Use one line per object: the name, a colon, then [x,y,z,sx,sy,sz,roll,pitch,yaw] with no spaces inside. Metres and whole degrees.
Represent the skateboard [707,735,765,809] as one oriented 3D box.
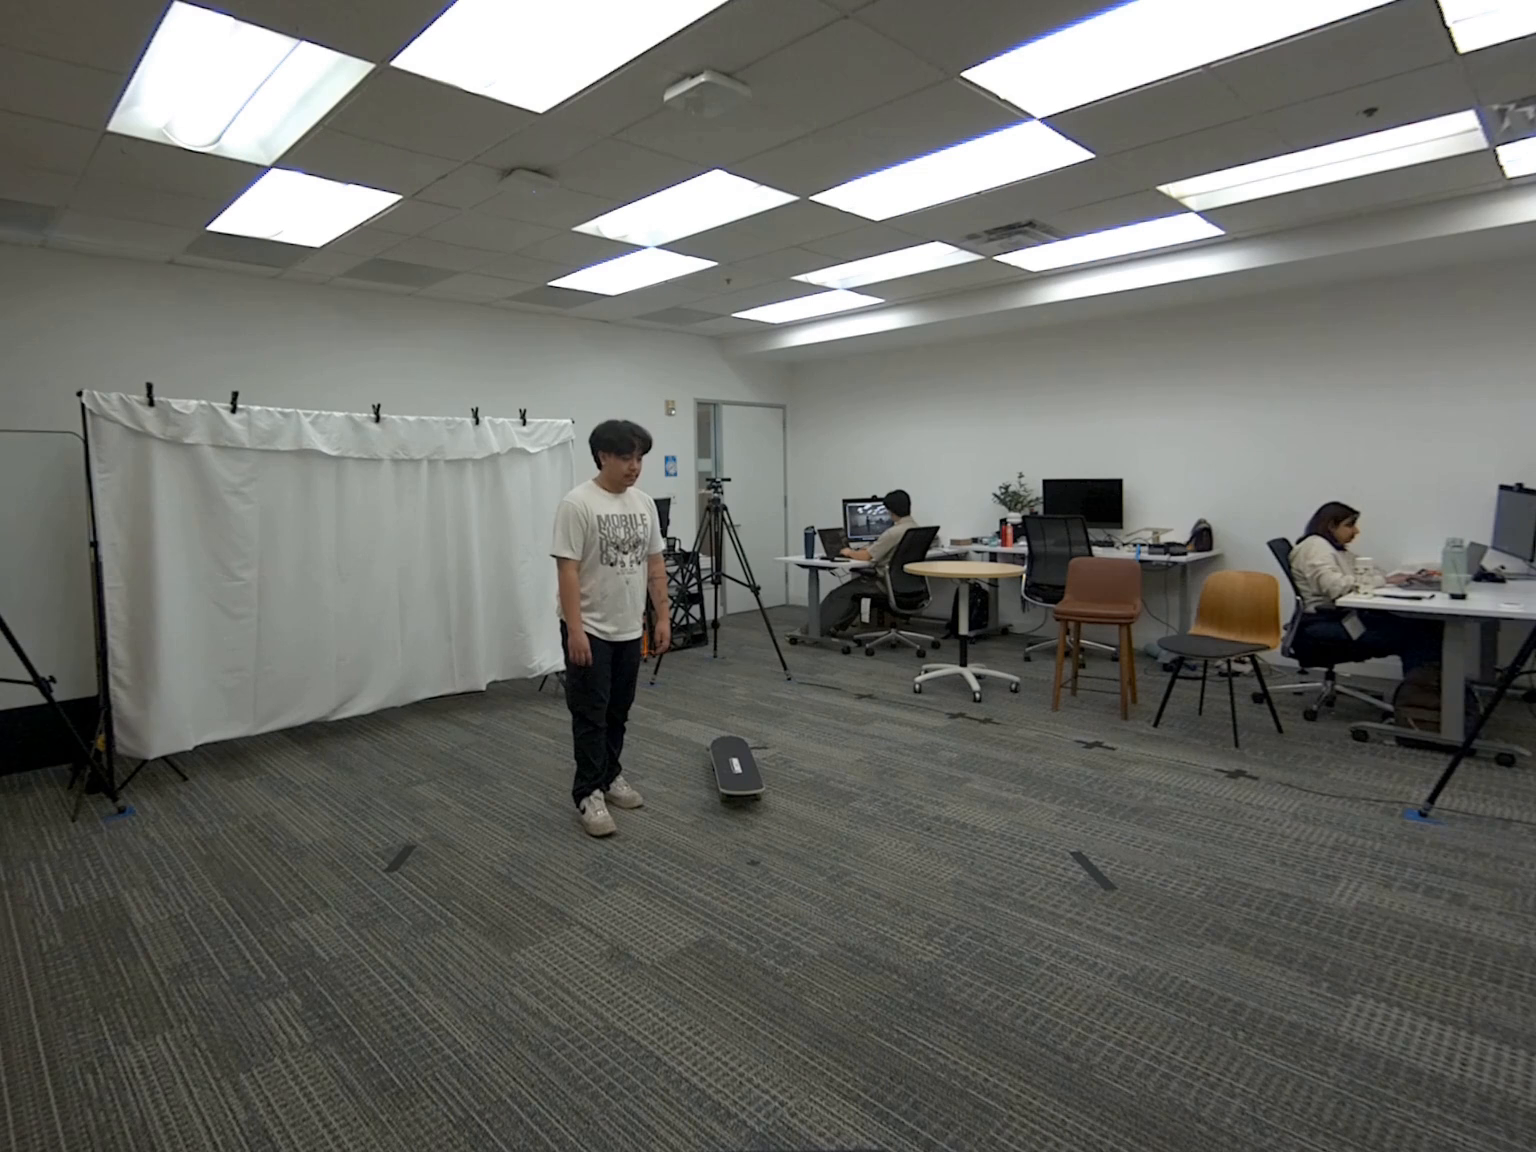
skateboard: [-0.145,0.897,3.910,0.192,0.110,0.794,-2,6,-8]
